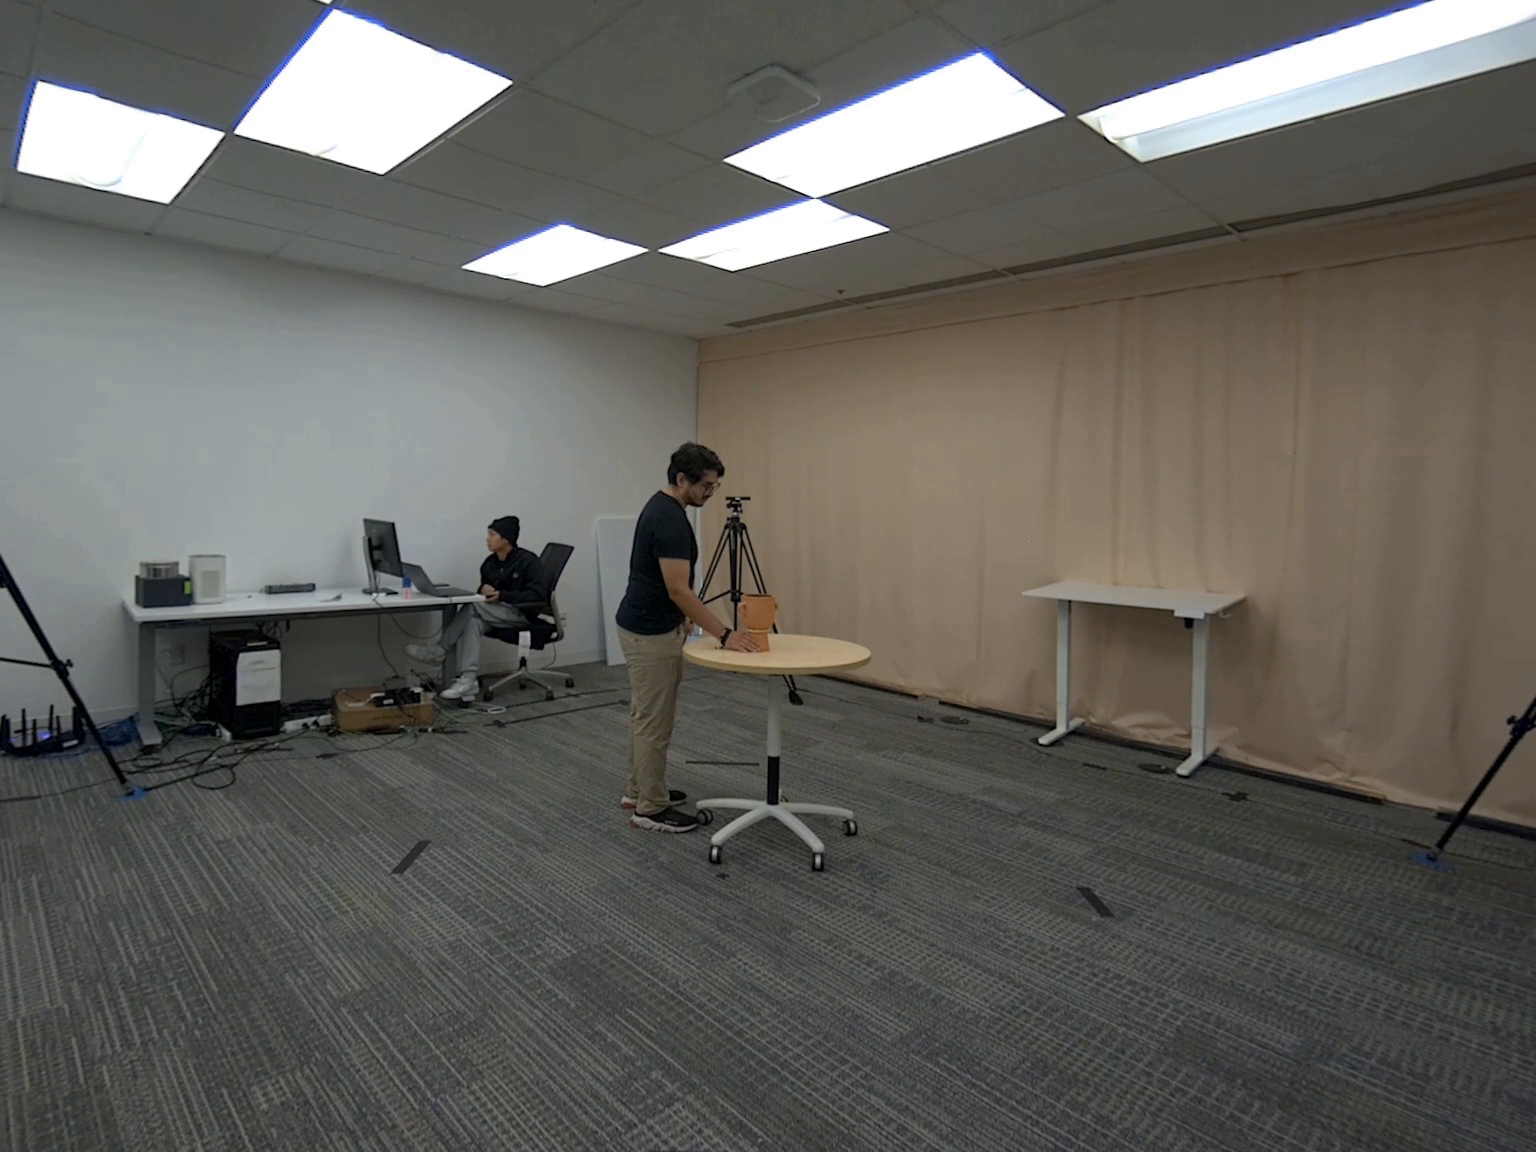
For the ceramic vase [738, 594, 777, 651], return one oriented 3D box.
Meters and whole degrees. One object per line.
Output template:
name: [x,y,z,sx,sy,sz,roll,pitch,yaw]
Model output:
ceramic vase: [-0.054,0.194,3.416,0.159,0.220,0.134,2,1,1]
